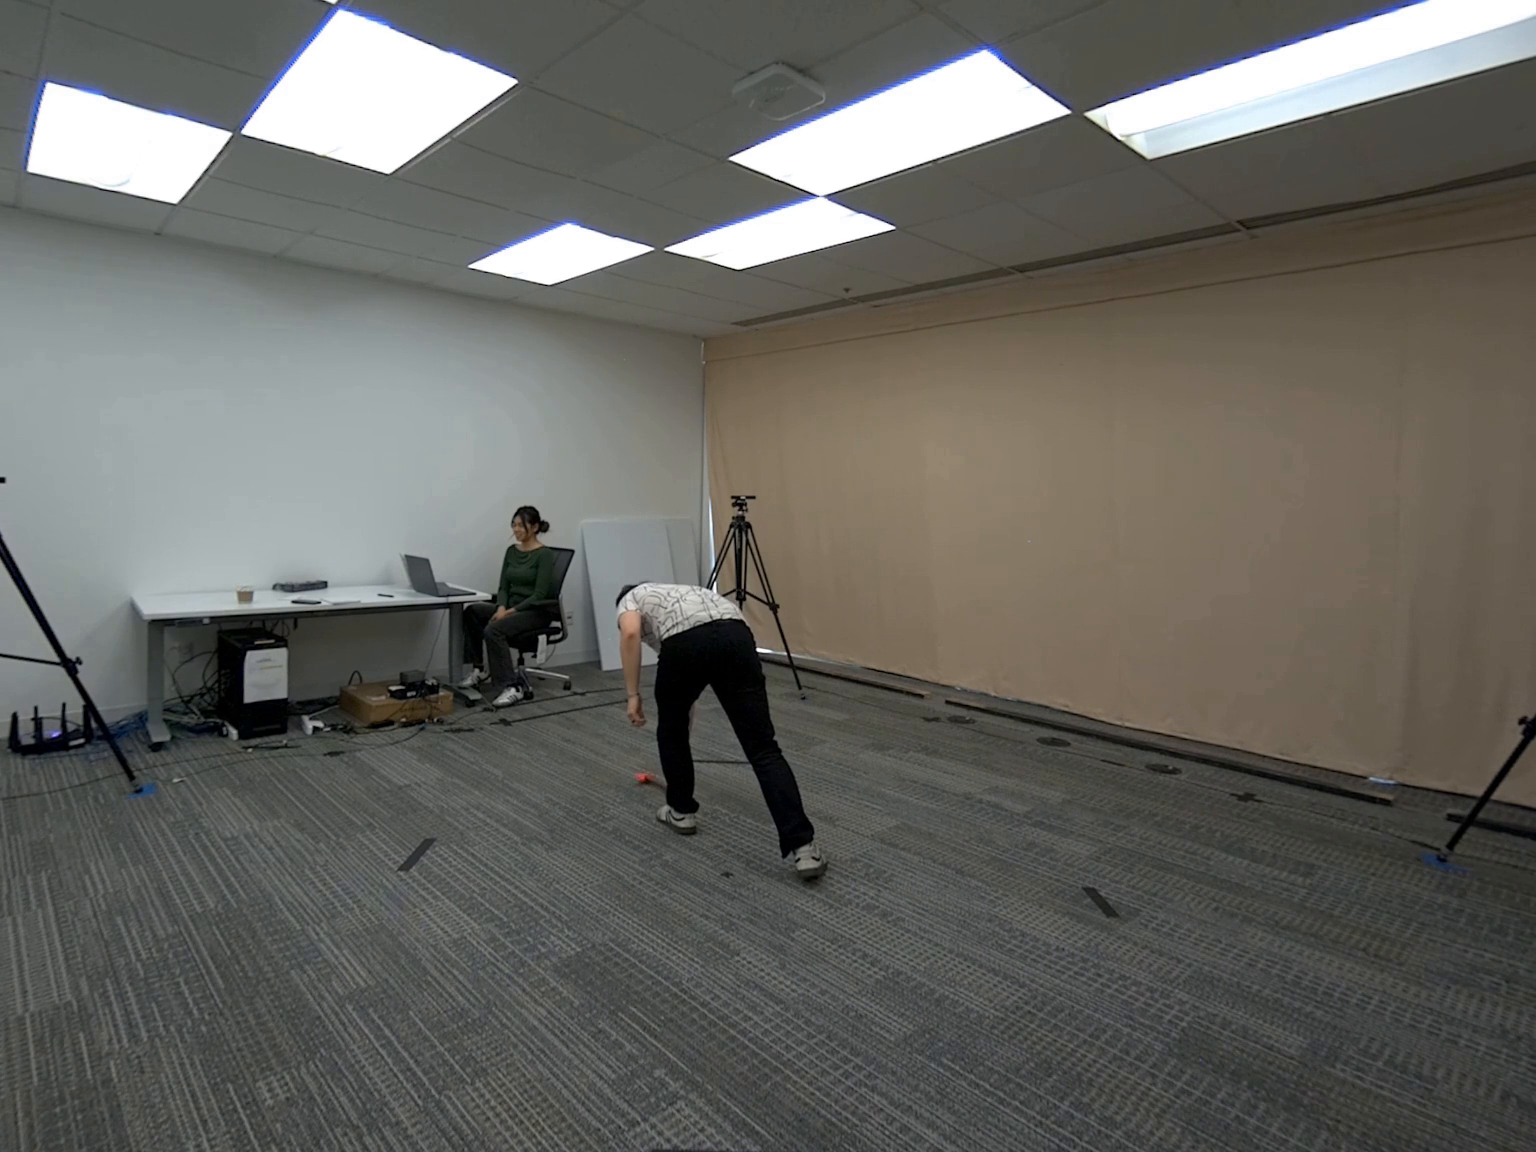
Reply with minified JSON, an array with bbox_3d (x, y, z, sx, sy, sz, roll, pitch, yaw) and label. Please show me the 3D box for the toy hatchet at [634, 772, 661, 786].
[{"bbox_3d":[-0.559,0.985,4.005,0.128,0.029,0.276,13,-2,-26],"label":"toy hatchet"}]
